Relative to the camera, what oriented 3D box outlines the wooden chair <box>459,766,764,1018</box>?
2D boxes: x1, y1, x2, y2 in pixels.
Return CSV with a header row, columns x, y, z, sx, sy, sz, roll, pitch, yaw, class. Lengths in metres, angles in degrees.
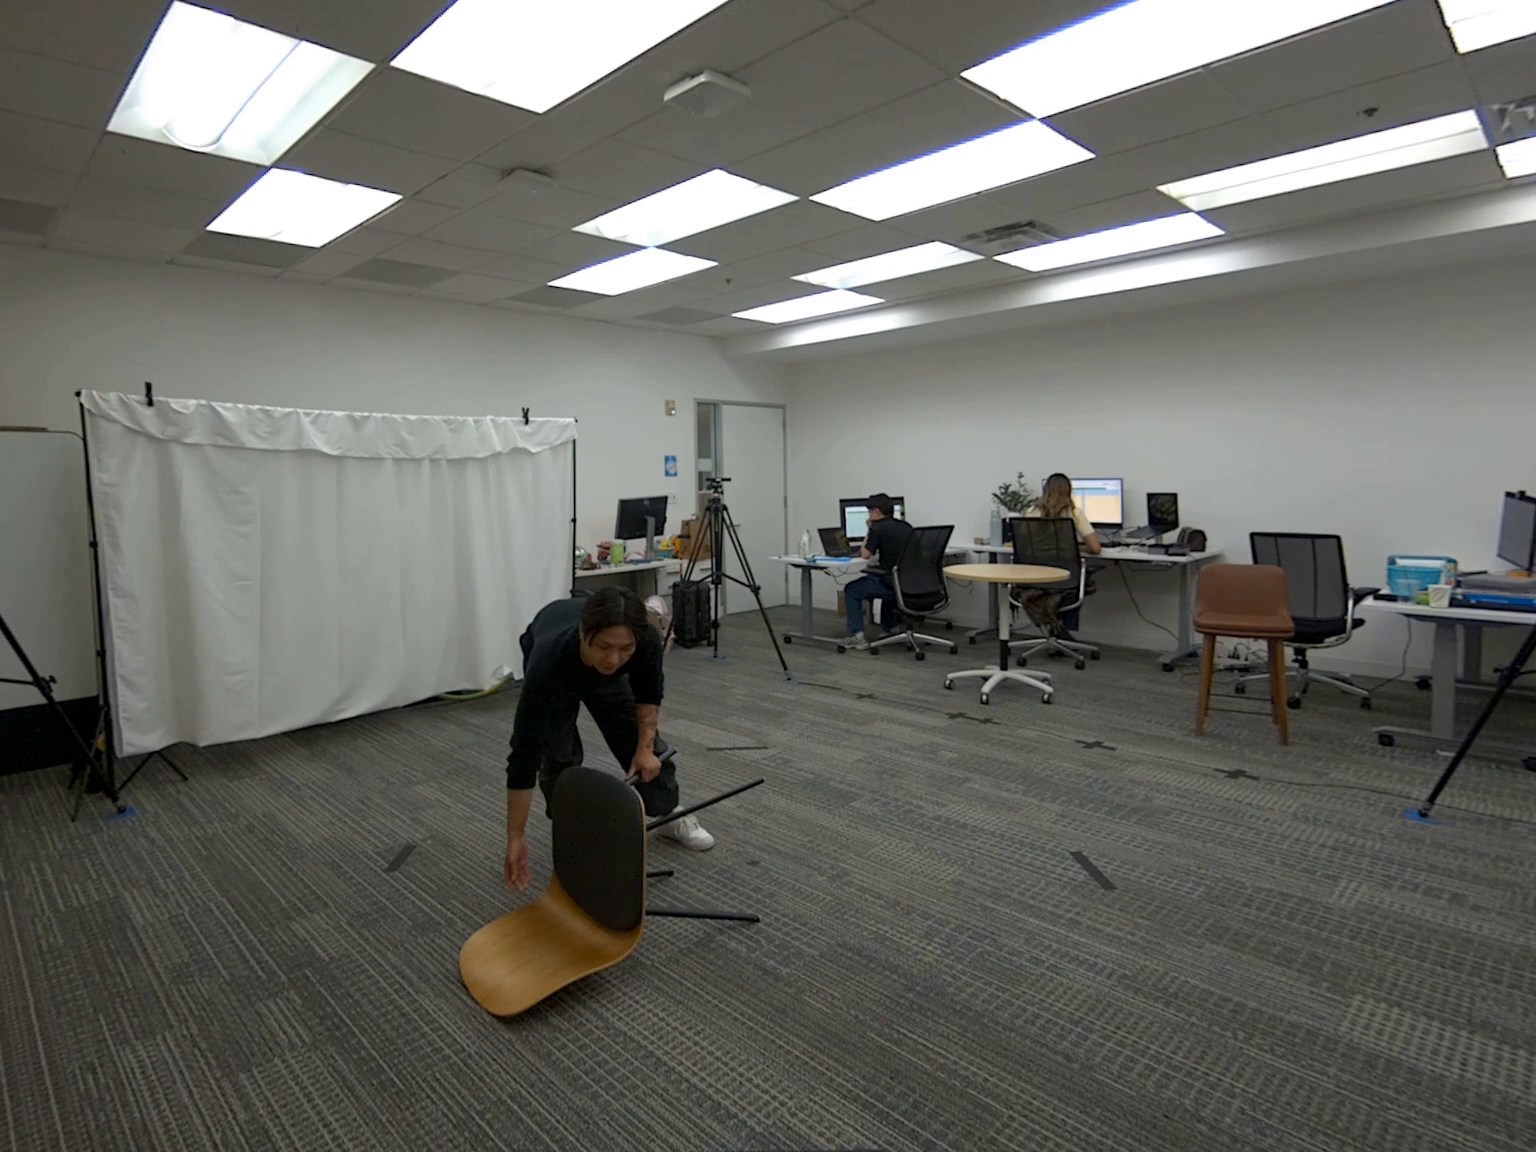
x,y,z,sx,sy,sz,roll,pitch,yaw,class
-0.486,0.859,2.570,0.855,0.520,0.493,-8,9,-43,wooden chair
